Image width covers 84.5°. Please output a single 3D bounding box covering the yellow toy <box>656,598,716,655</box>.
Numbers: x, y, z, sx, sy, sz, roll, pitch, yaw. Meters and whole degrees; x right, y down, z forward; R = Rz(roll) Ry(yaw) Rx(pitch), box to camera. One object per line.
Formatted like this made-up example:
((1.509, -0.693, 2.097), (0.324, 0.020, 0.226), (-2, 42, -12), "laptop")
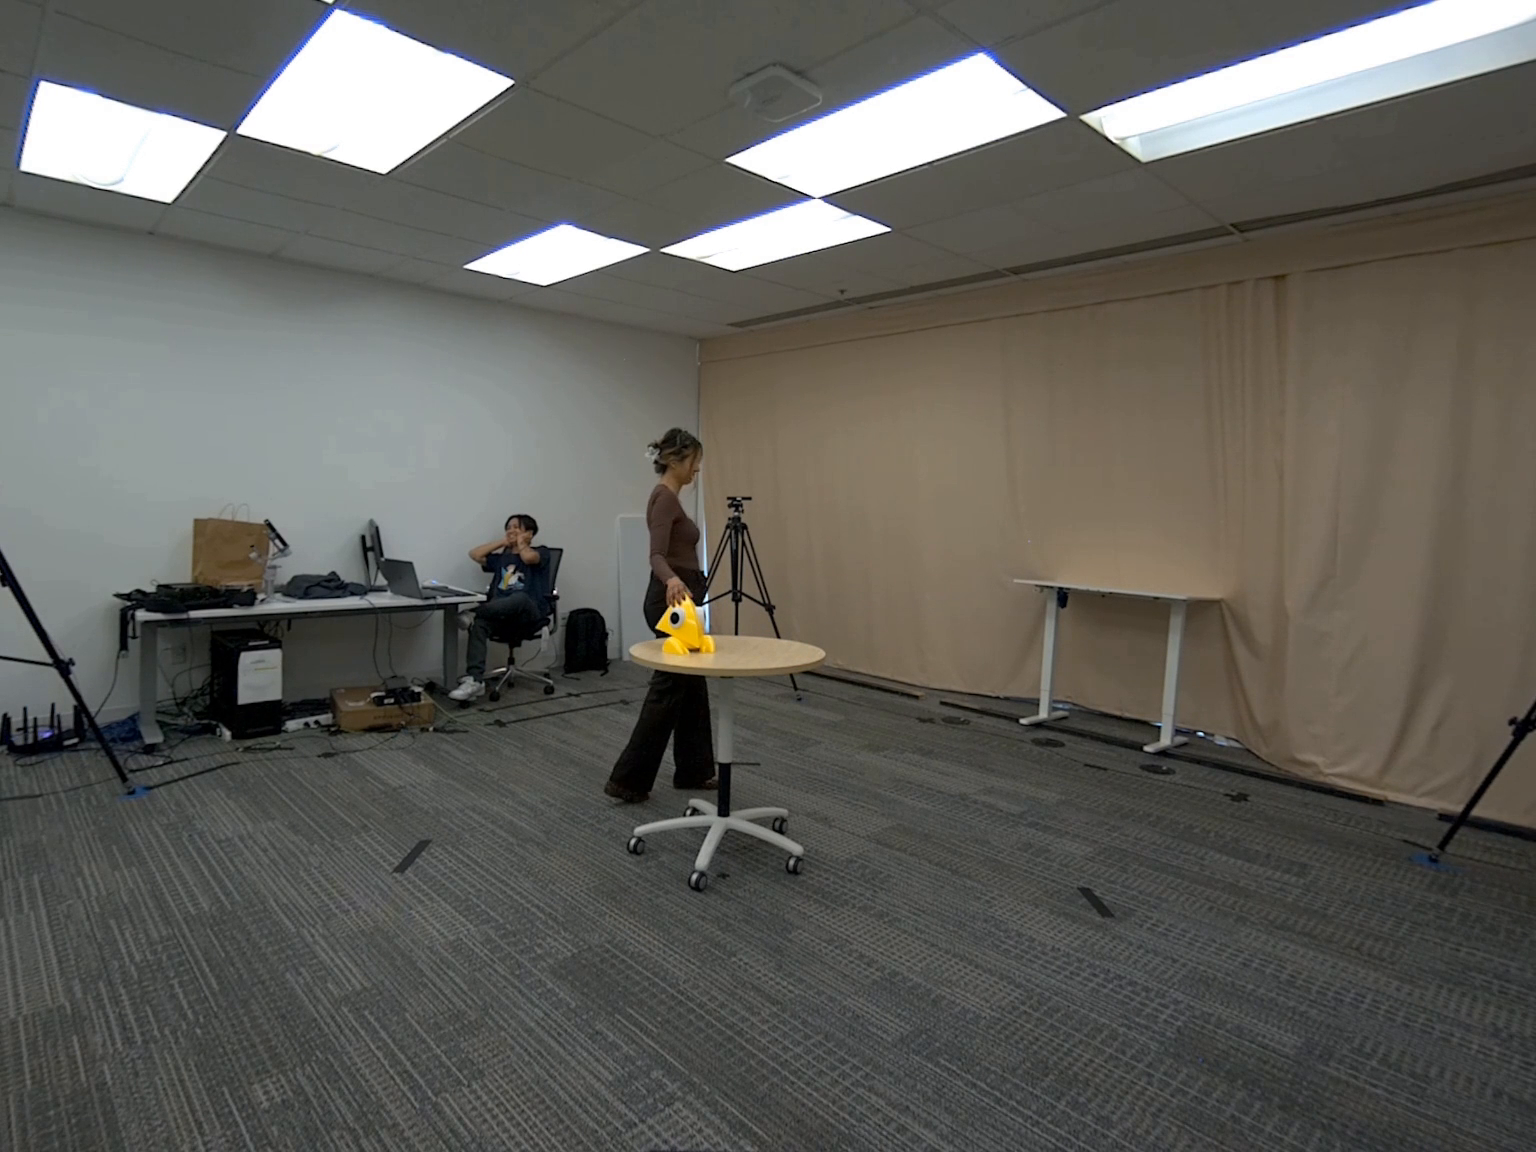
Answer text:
((-0.318, 0.176, 3.278), (0.201, 0.230, 0.197), (0, 3, -27), "yellow toy")
